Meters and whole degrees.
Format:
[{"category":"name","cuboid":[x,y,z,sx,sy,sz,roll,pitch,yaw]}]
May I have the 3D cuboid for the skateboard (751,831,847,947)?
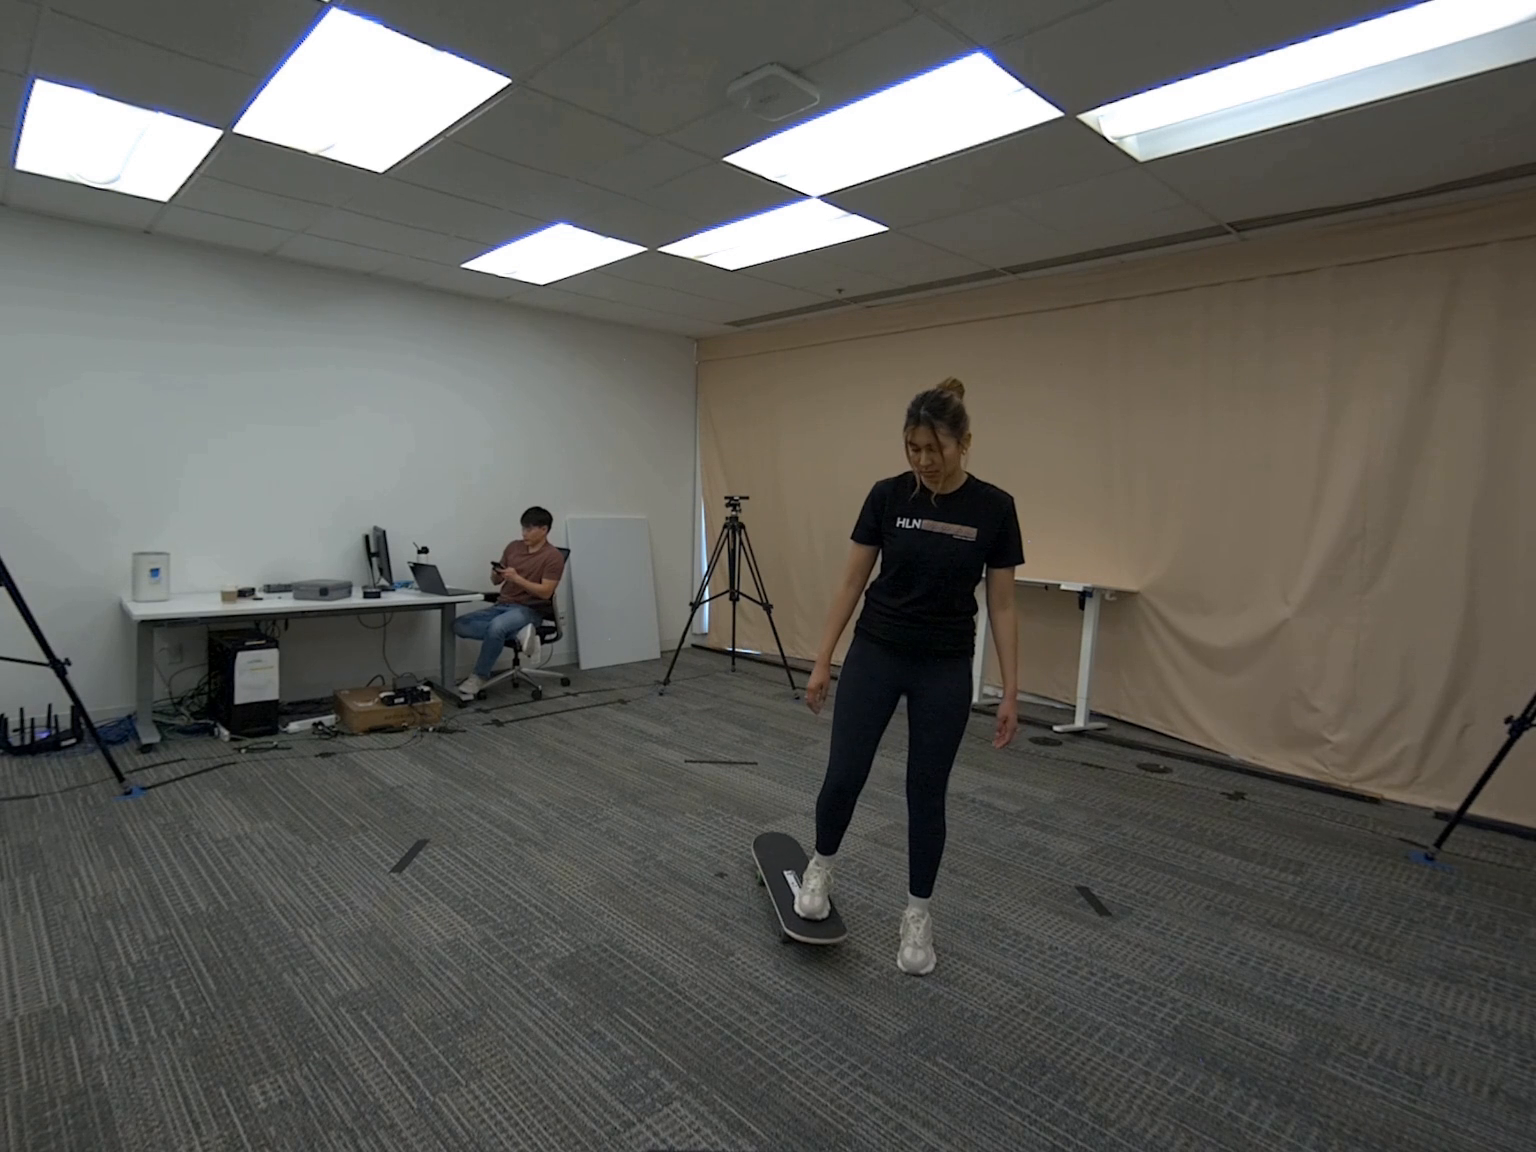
[{"category":"skateboard","cuboid":[0.088,1.077,2.840,0.192,0.110,0.794,2,6,-10]}]
